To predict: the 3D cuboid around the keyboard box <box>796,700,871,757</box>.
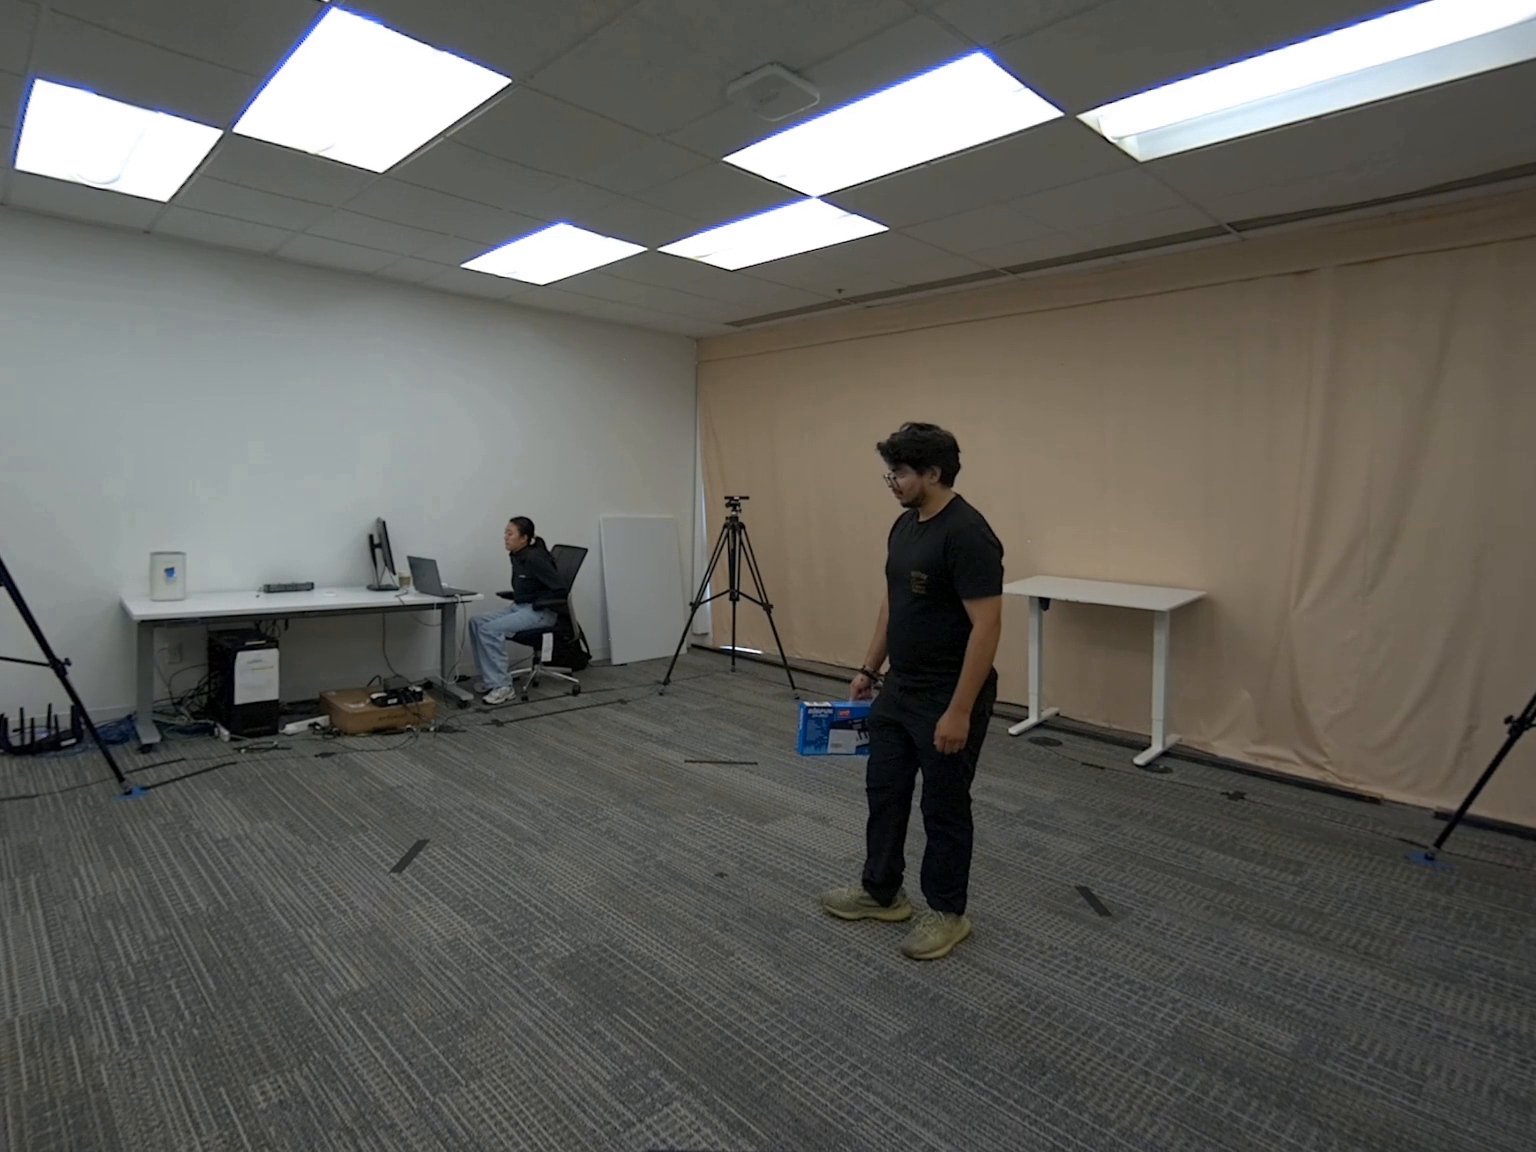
[{"bbox_3d":[0.316,0.530,2.907,0.432,0.175,0.060,3,4,-14],"label":"keyboard box"}]
